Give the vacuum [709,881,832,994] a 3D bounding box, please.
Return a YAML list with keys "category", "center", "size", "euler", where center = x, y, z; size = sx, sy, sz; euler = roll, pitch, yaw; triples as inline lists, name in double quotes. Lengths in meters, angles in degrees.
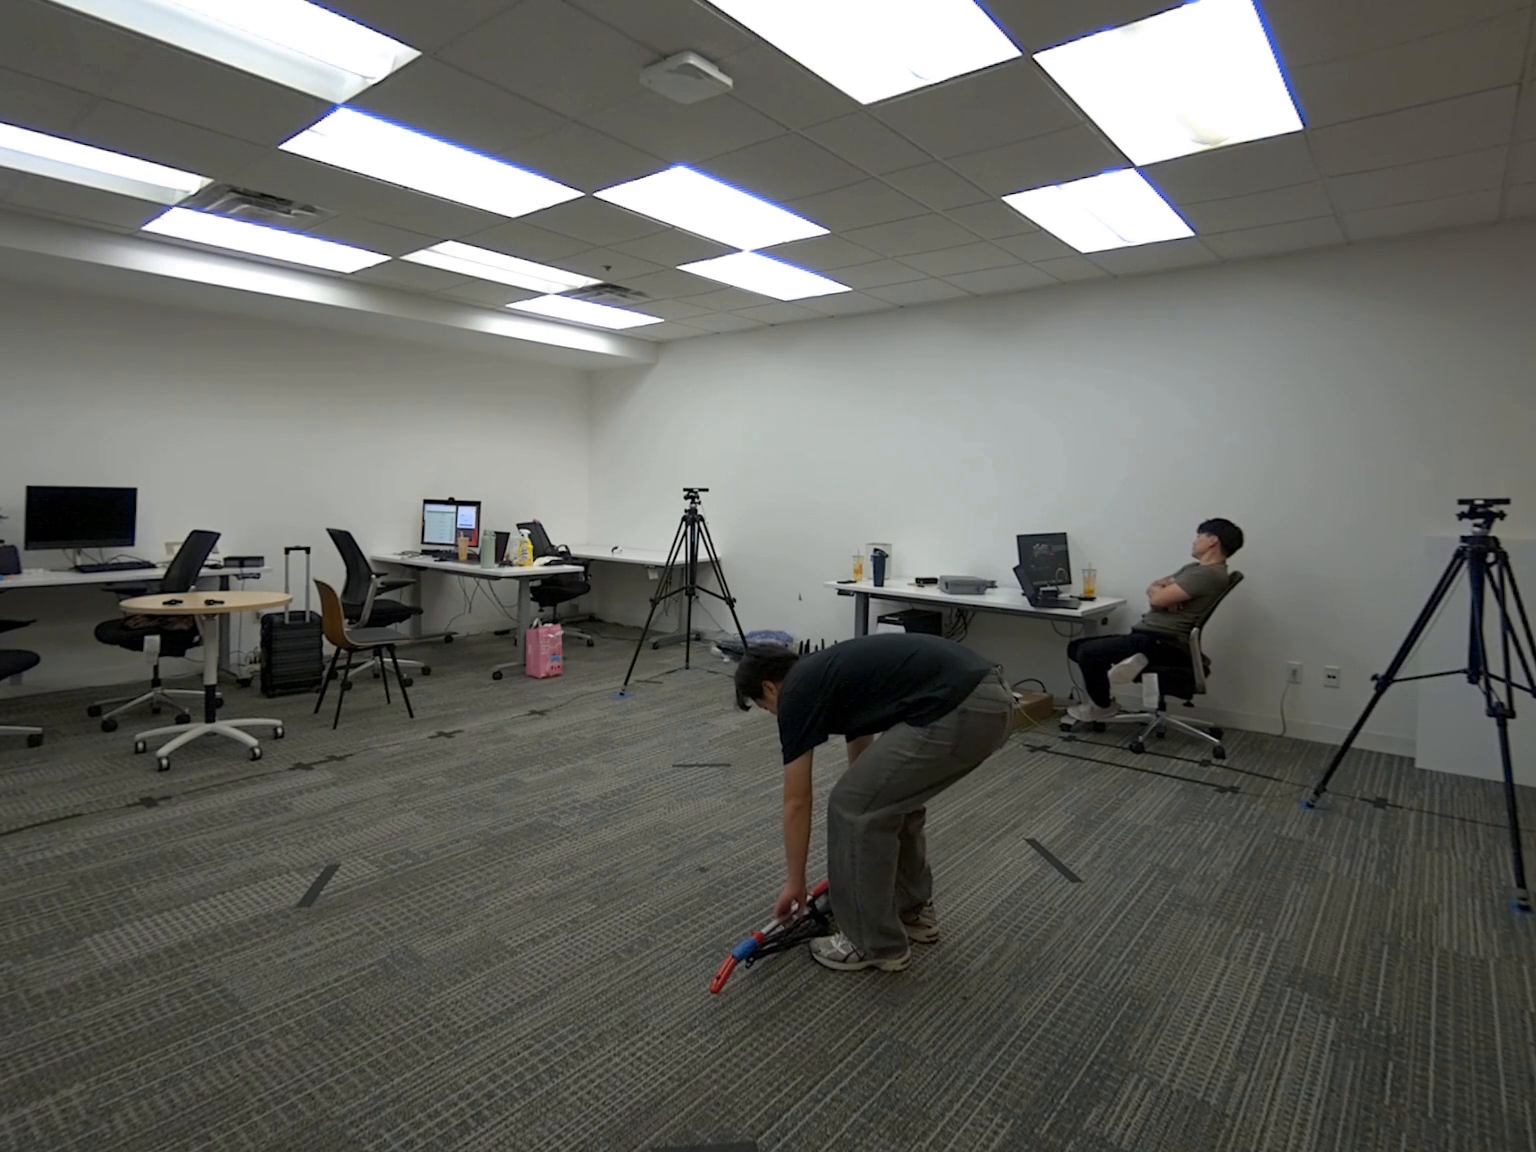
- category: "vacuum"
  center: [0.120, 1.054, 2.690]
  size: [0.261, 0.143, 1.021]
  euler: [6, 8, 32]
